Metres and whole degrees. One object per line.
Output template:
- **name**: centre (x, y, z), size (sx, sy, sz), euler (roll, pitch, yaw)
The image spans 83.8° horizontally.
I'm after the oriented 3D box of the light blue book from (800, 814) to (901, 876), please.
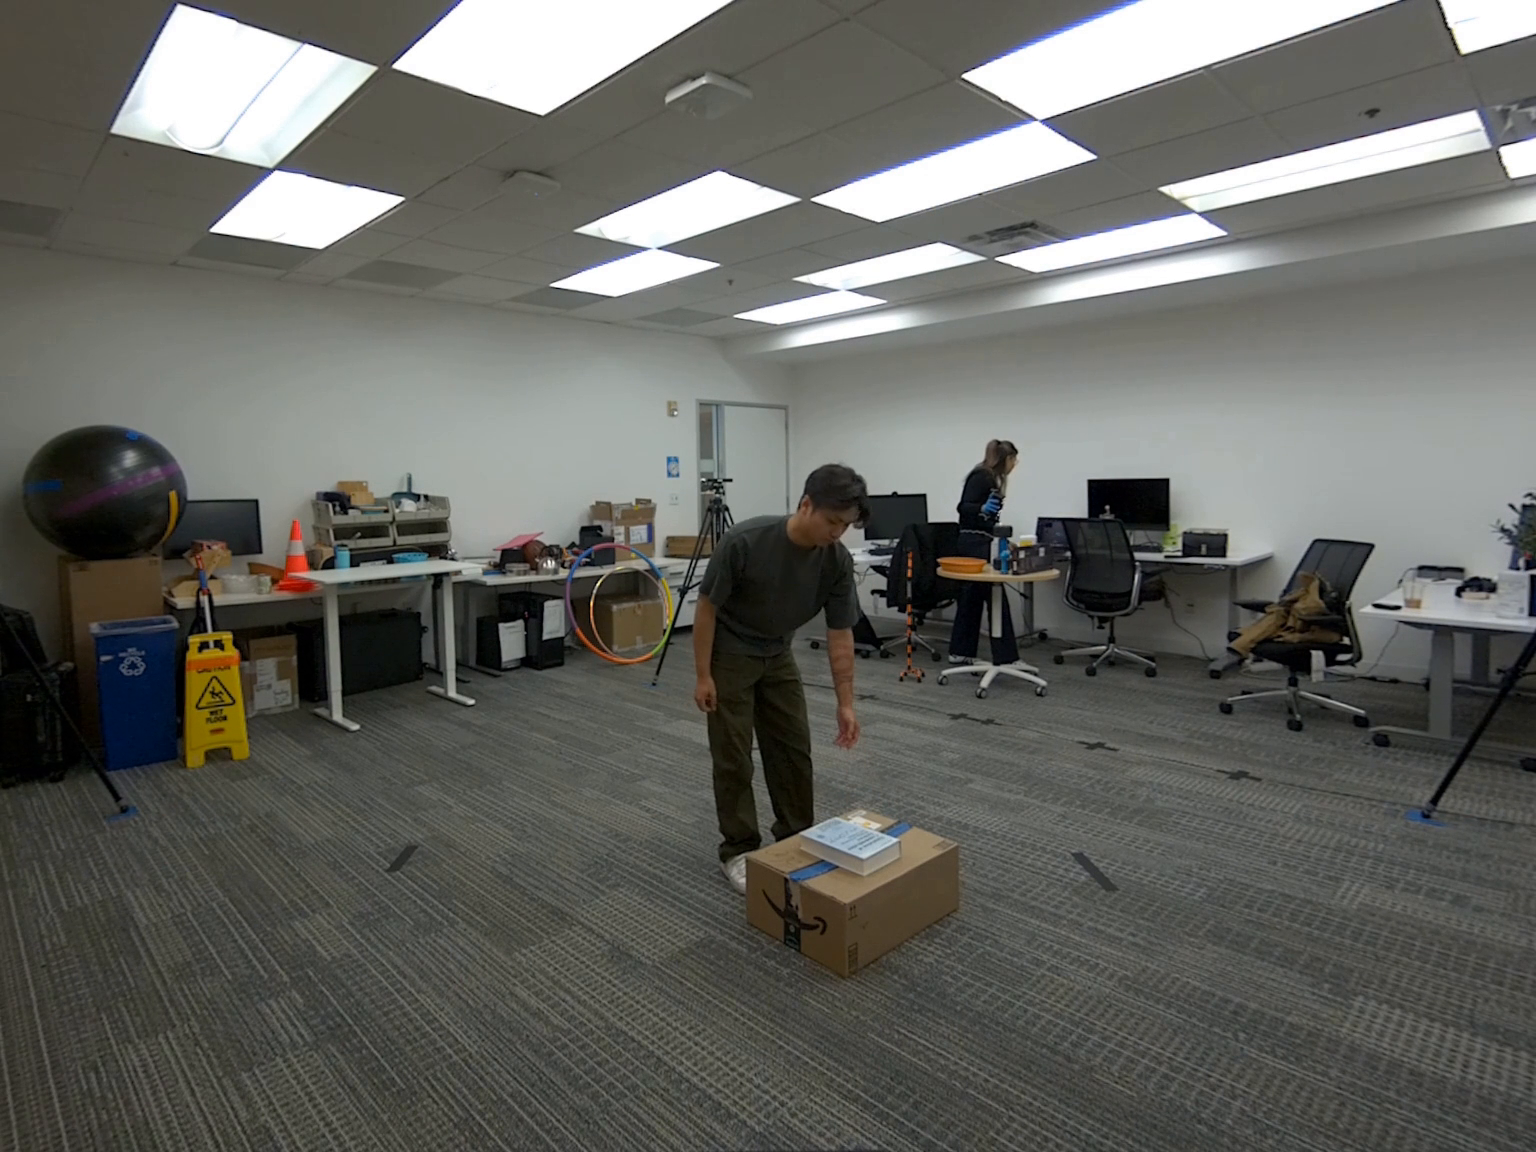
- **light blue book**: centre (0.260, 0.847, 2.695), size (0.186, 0.059, 0.269), euler (-8, 9, -44)
